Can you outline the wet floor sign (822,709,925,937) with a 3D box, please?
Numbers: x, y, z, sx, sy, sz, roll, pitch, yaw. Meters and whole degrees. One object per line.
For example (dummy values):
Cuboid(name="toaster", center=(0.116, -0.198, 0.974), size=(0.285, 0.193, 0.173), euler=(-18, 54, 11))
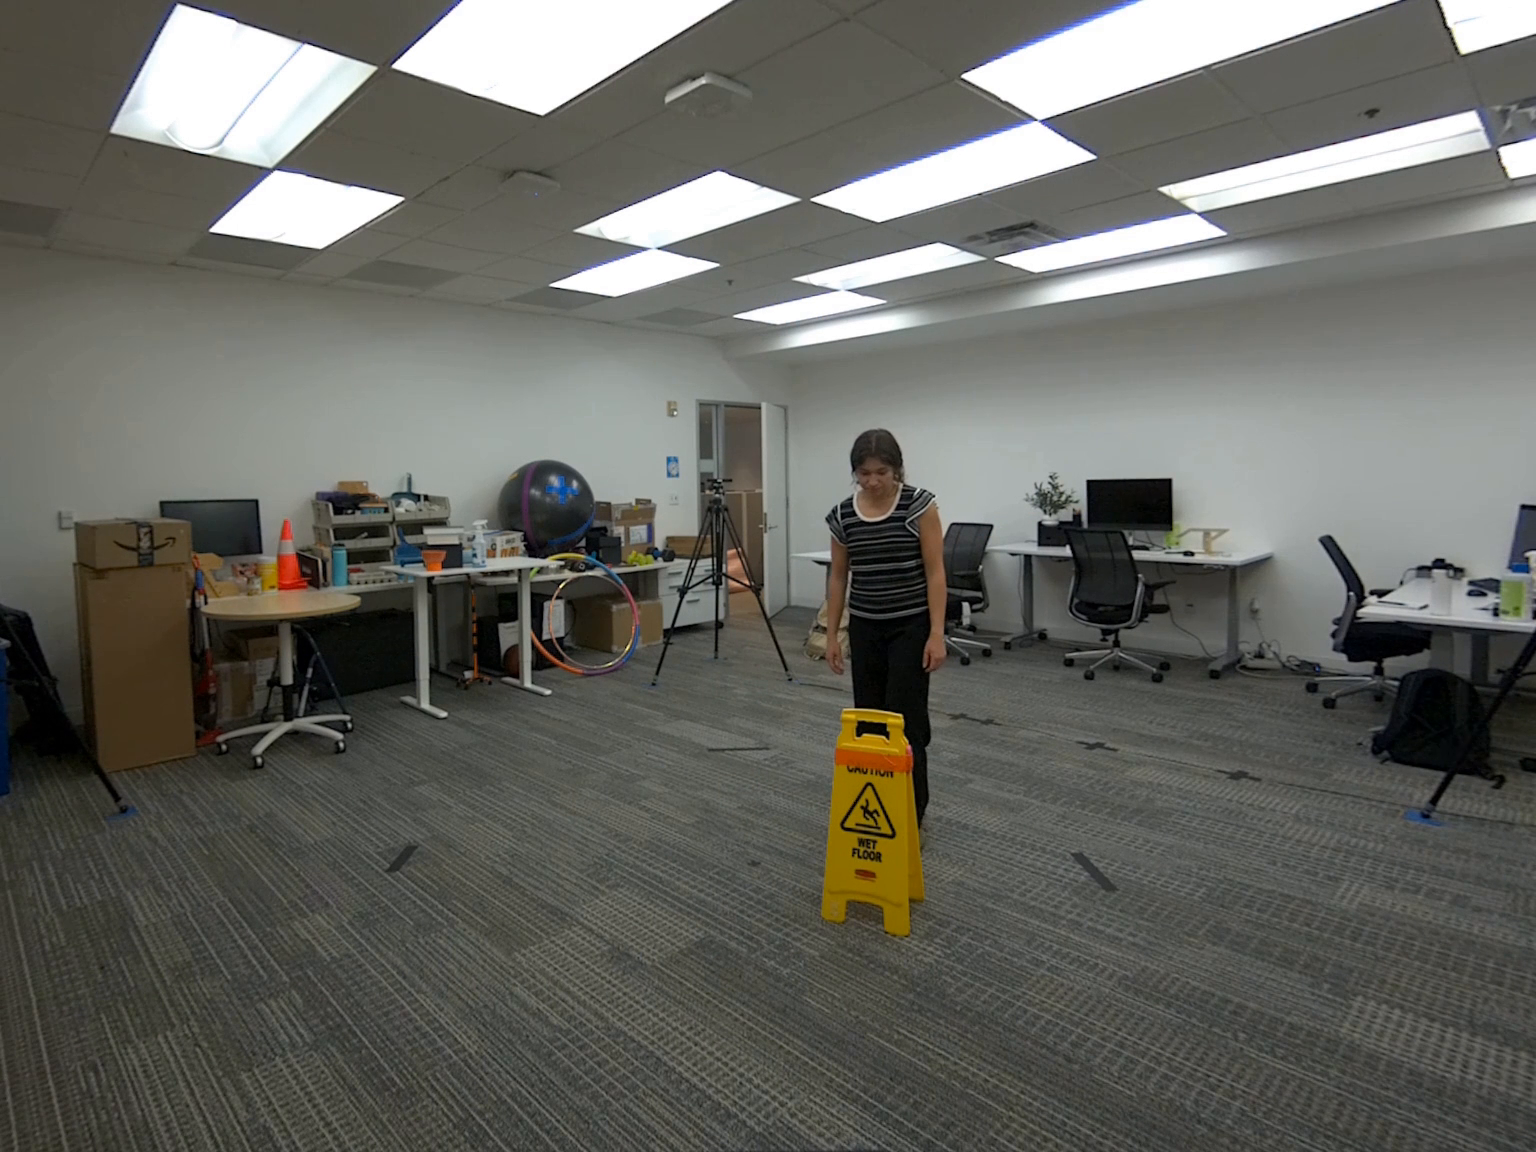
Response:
Cuboid(name="wet floor sign", center=(0.341, 0.759, 2.735), size=(0.288, 0.643, 0.285), euler=(0, 5, 23))
